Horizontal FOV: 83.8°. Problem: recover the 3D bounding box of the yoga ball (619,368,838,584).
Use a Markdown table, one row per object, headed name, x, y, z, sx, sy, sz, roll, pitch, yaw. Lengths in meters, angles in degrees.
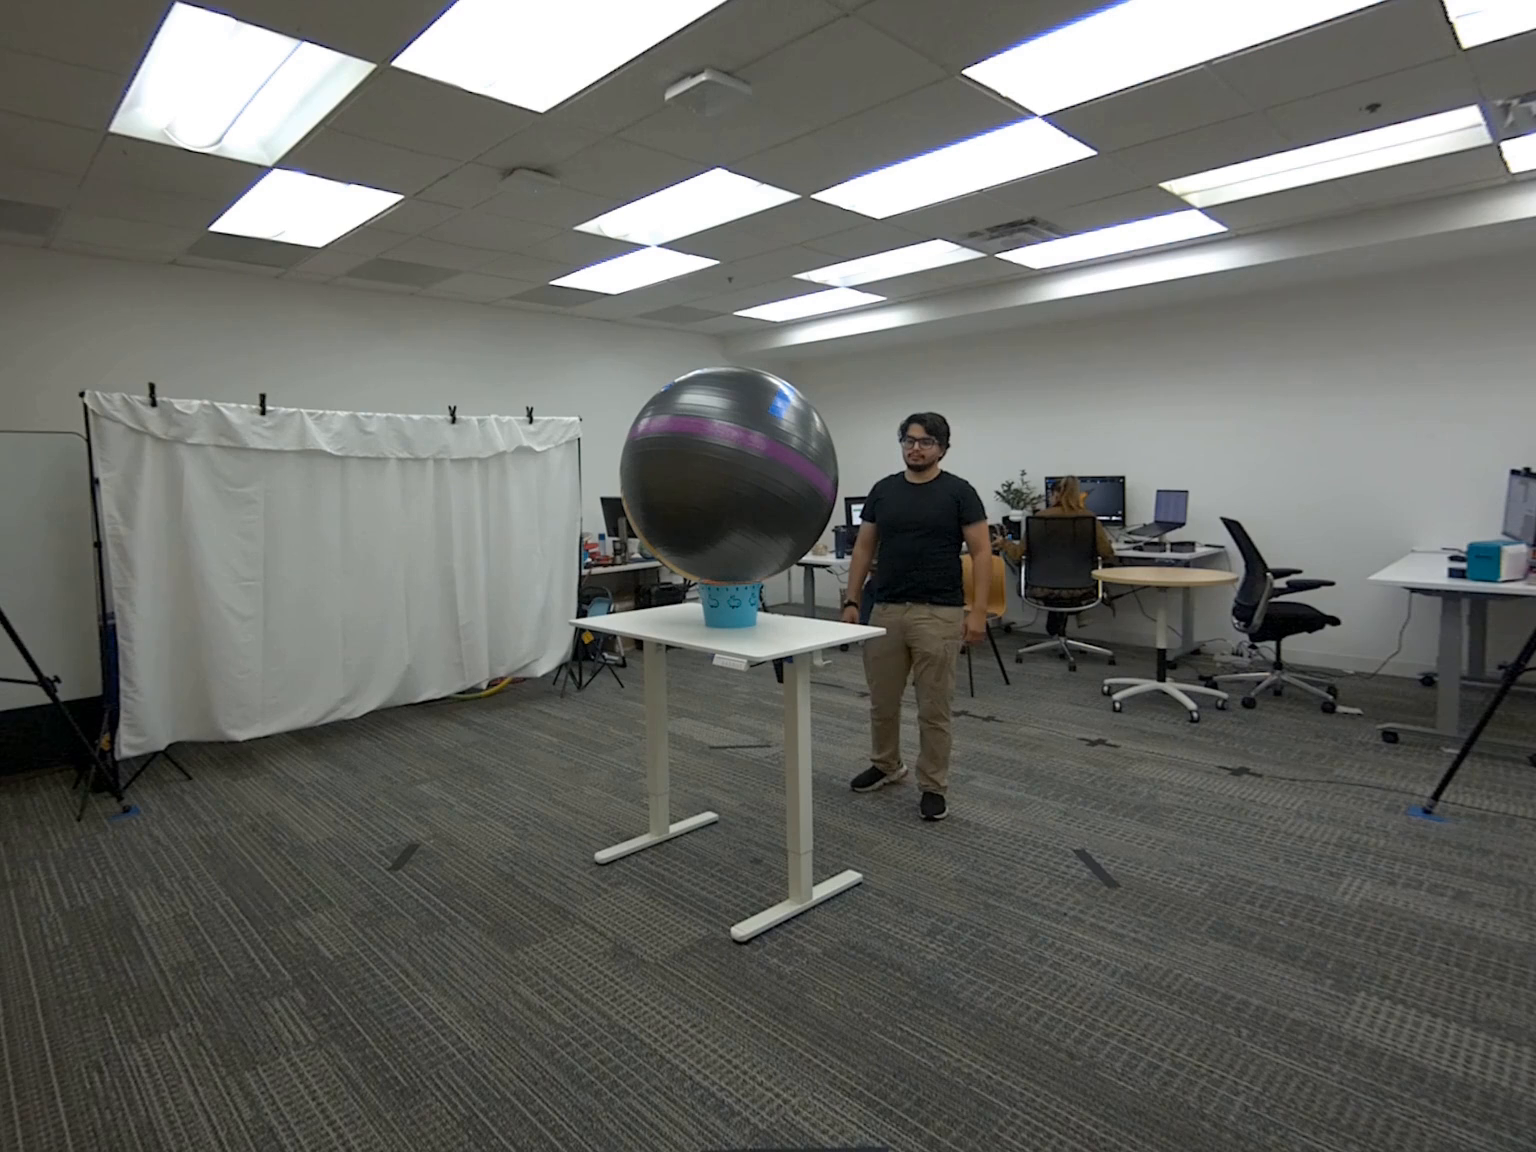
| name | x | y | z | sx | sy | sz | roll | pitch | yaw |
| --- | --- | --- | --- | --- | --- | --- | --- | --- | --- |
| yoga ball | -0.138 | -0.339 | 2.977 | 0.757 | 0.755 | 0.762 | -1 | 5 | -2 |
